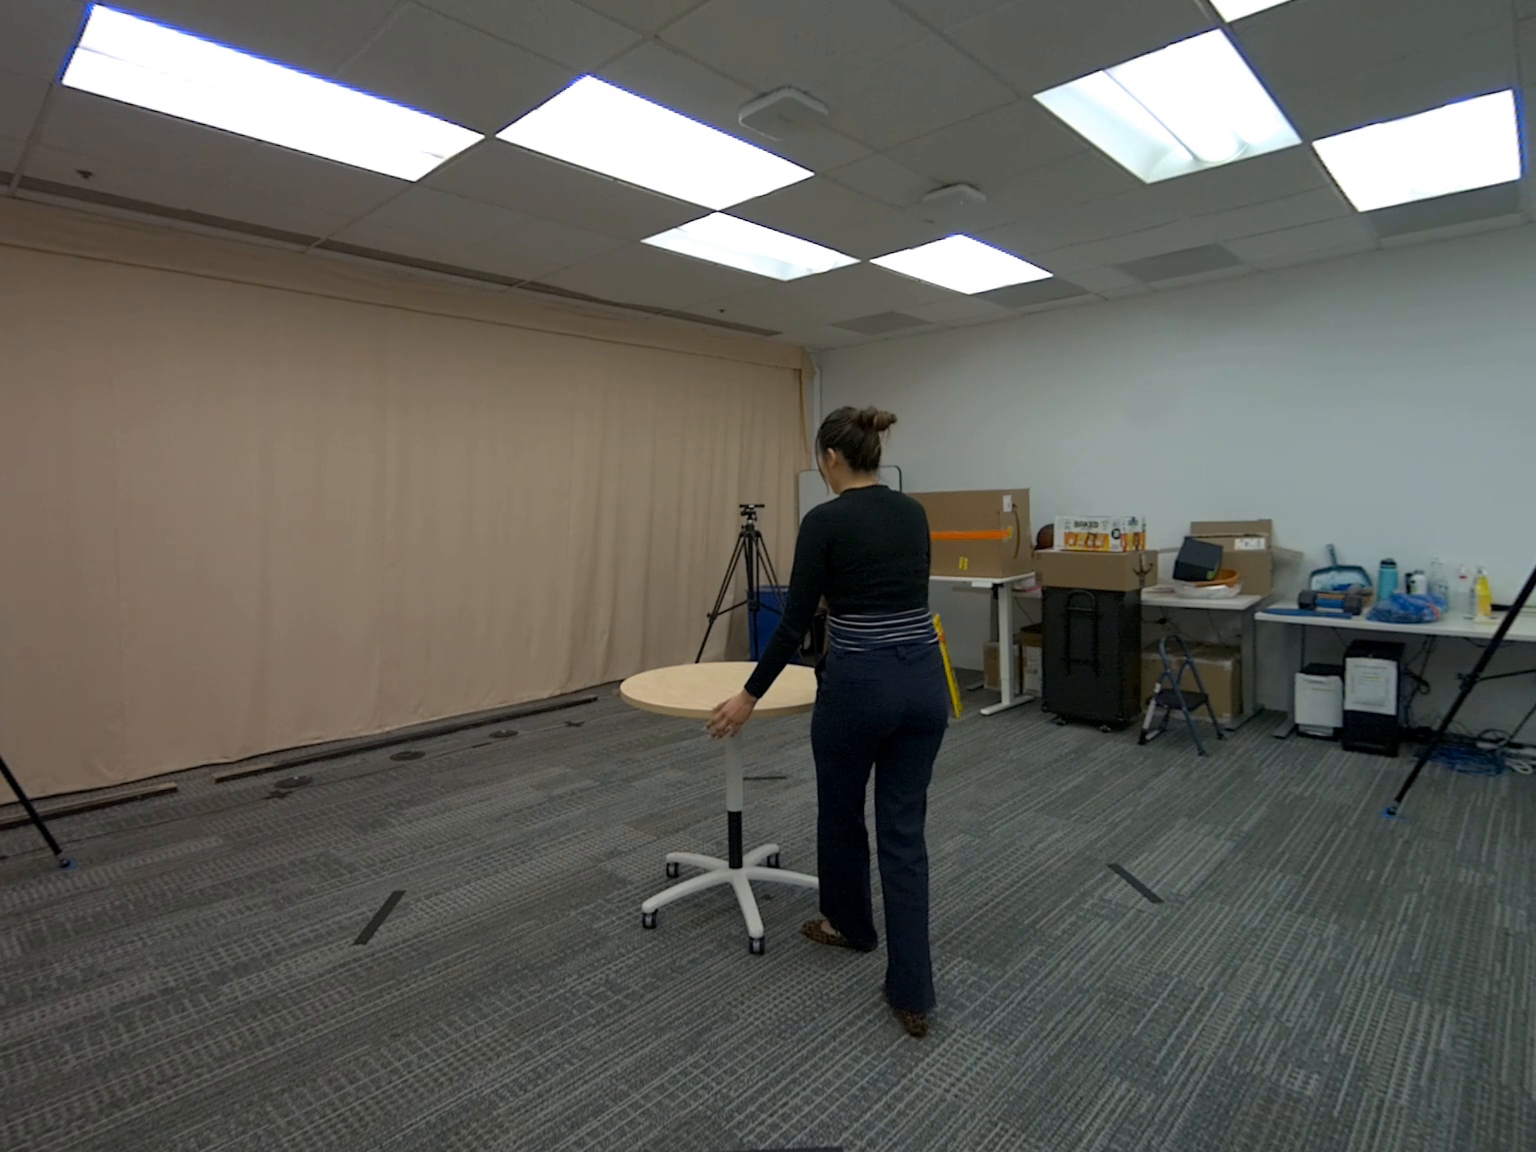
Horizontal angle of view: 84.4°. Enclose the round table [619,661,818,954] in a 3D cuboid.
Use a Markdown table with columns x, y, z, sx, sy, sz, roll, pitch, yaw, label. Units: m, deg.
| x | y | z | sx | sy | sz | roll | pitch | yaw | label |
| --- | --- | --- | --- | --- | --- | --- | --- | --- | --- |
| -0.110 | 0.759 | 2.906 | 0.763 | 0.792 | 0.767 | -1 | 4 | -2 | round table |
